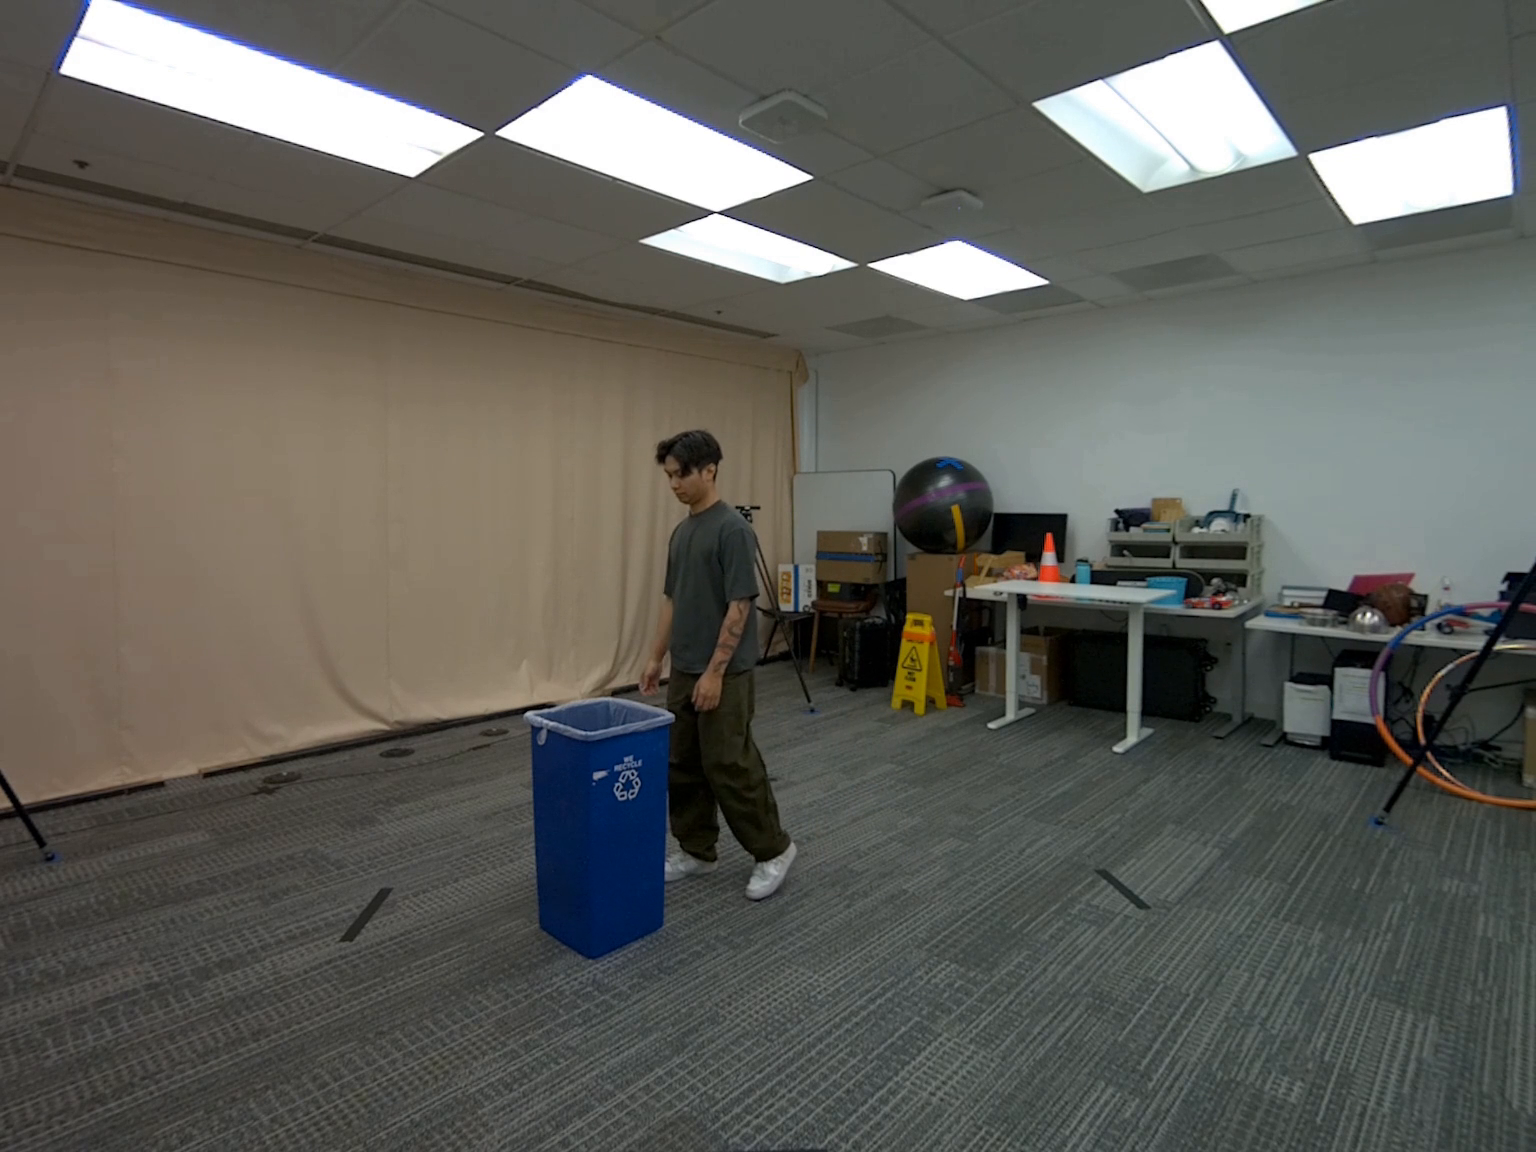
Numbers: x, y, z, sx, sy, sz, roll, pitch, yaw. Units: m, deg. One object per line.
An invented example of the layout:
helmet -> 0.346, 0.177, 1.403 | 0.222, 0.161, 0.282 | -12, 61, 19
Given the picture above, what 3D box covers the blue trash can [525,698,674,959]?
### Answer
blue trash can -> -0.553, 0.808, 2.780 | 0.391, 0.712, 0.362 | 3, 5, 43
